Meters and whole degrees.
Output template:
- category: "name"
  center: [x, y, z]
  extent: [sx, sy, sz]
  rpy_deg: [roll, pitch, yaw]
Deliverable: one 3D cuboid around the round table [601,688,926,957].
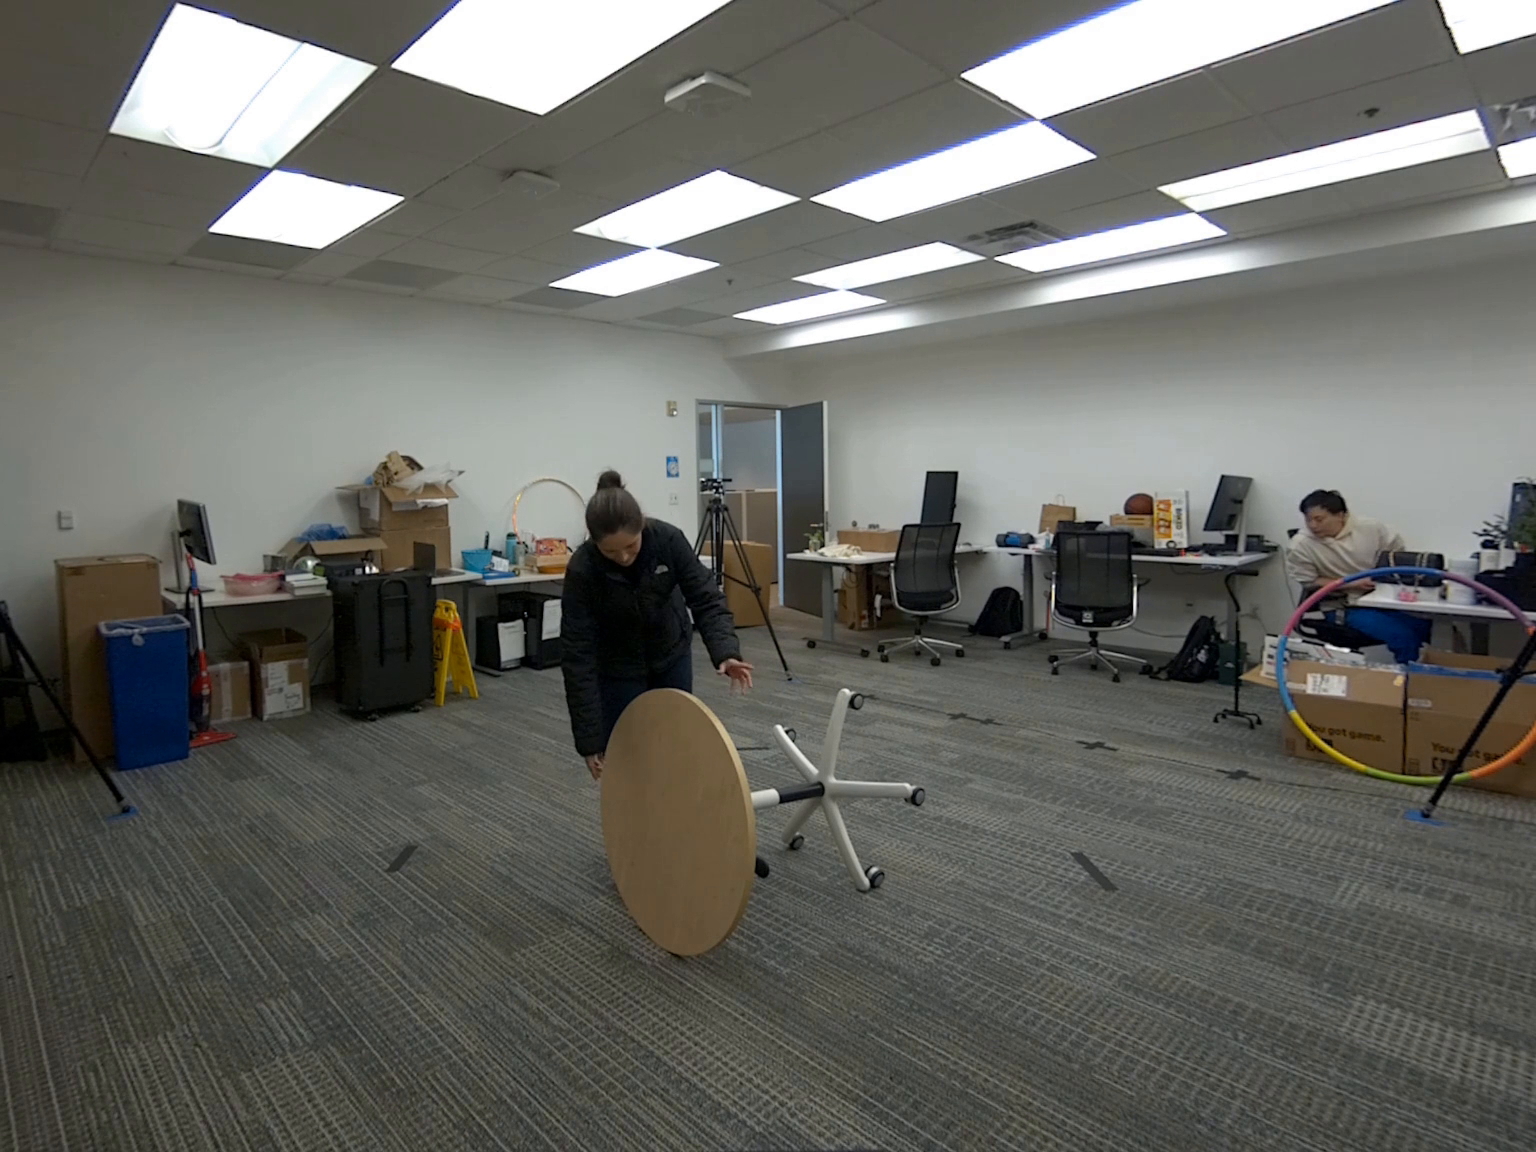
- category: "round table"
  center: [-0.003, 0.741, 2.828]
  extent: [0.763, 0.785, 0.809]
  rpy_deg: [3, 1, -40]
